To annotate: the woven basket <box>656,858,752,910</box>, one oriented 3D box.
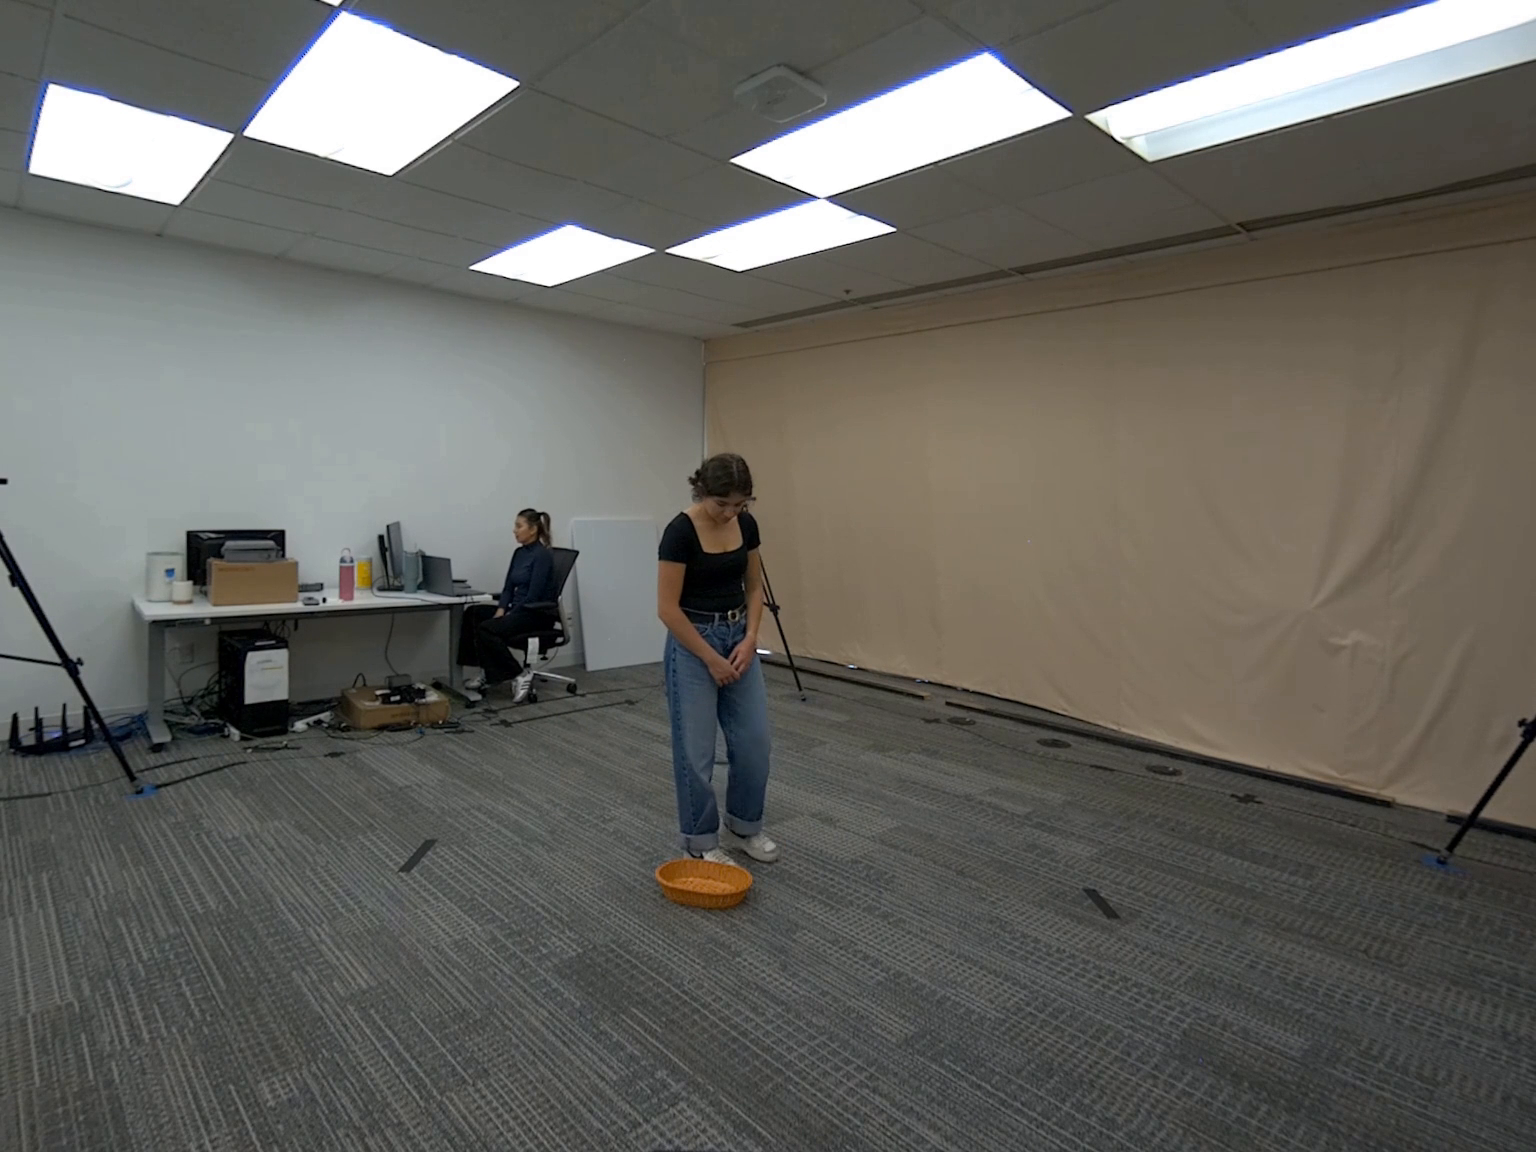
[{"bbox_3d":[-0.234,1.083,2.949,0.356,0.073,0.249,2,5,20],"label":"woven basket"}]
